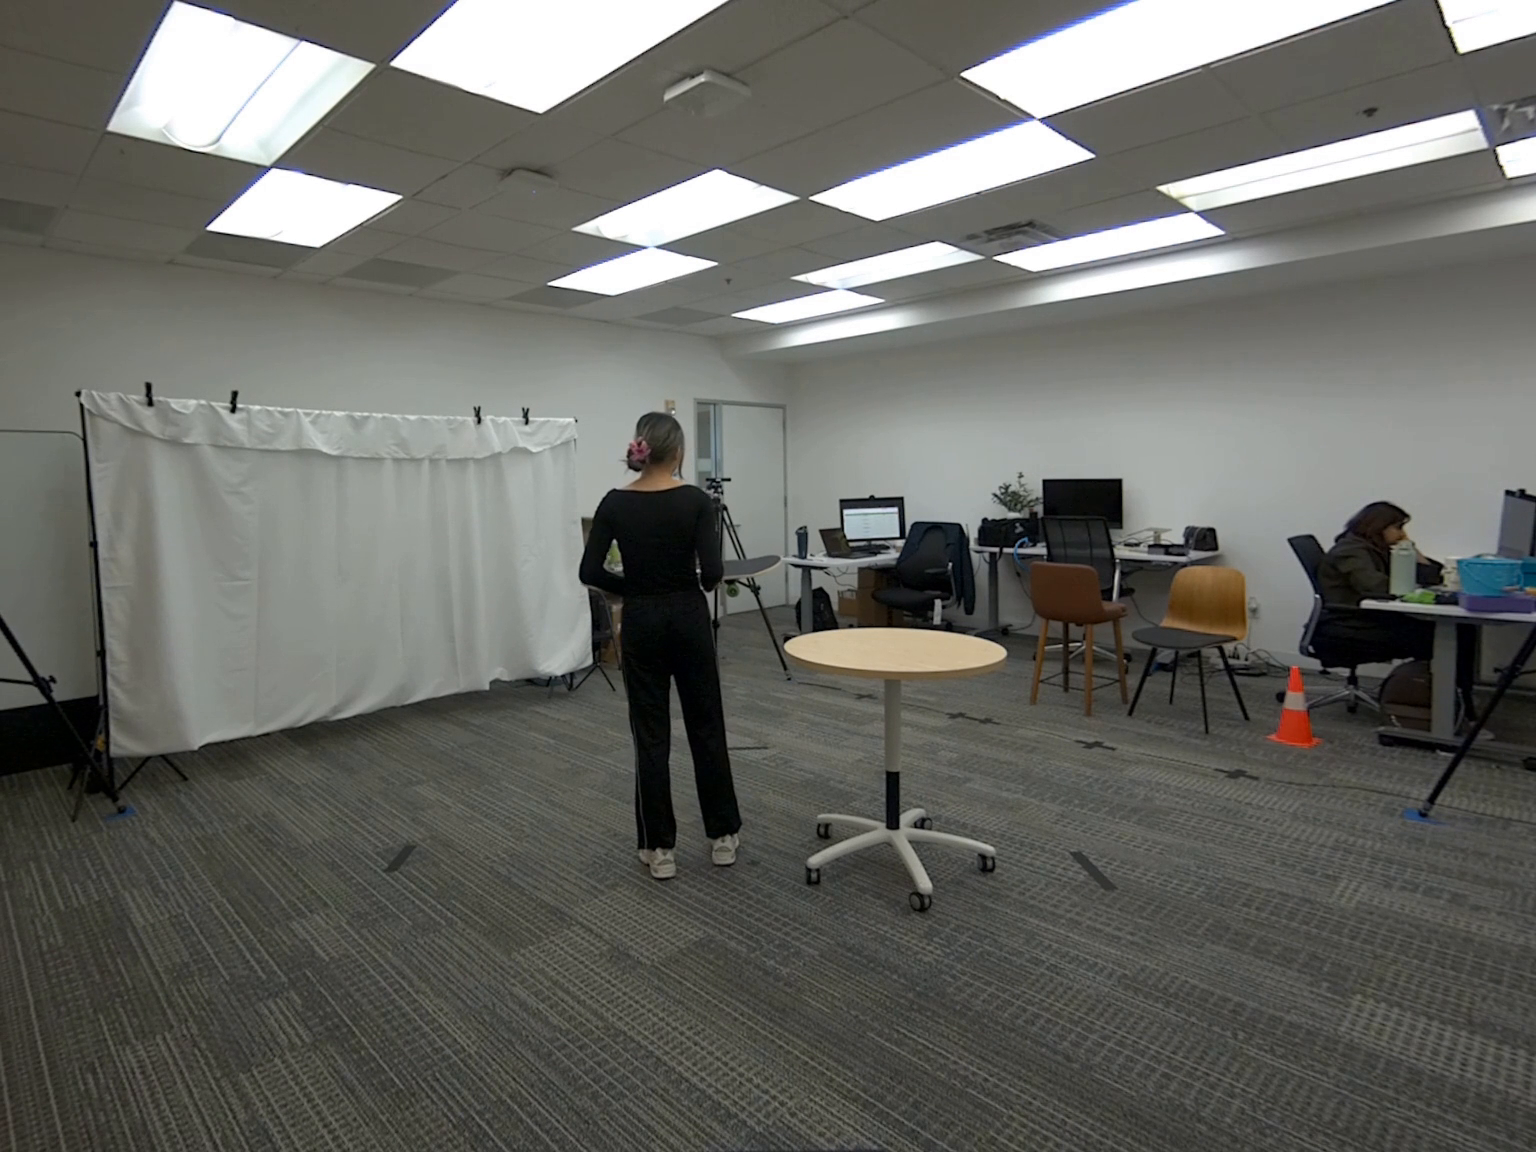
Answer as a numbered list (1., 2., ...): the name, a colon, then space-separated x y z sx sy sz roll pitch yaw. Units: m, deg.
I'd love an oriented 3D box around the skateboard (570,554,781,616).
1. skateboard: -0.353 0.032 3.314 0.789 0.108 0.196 -5 19 5
